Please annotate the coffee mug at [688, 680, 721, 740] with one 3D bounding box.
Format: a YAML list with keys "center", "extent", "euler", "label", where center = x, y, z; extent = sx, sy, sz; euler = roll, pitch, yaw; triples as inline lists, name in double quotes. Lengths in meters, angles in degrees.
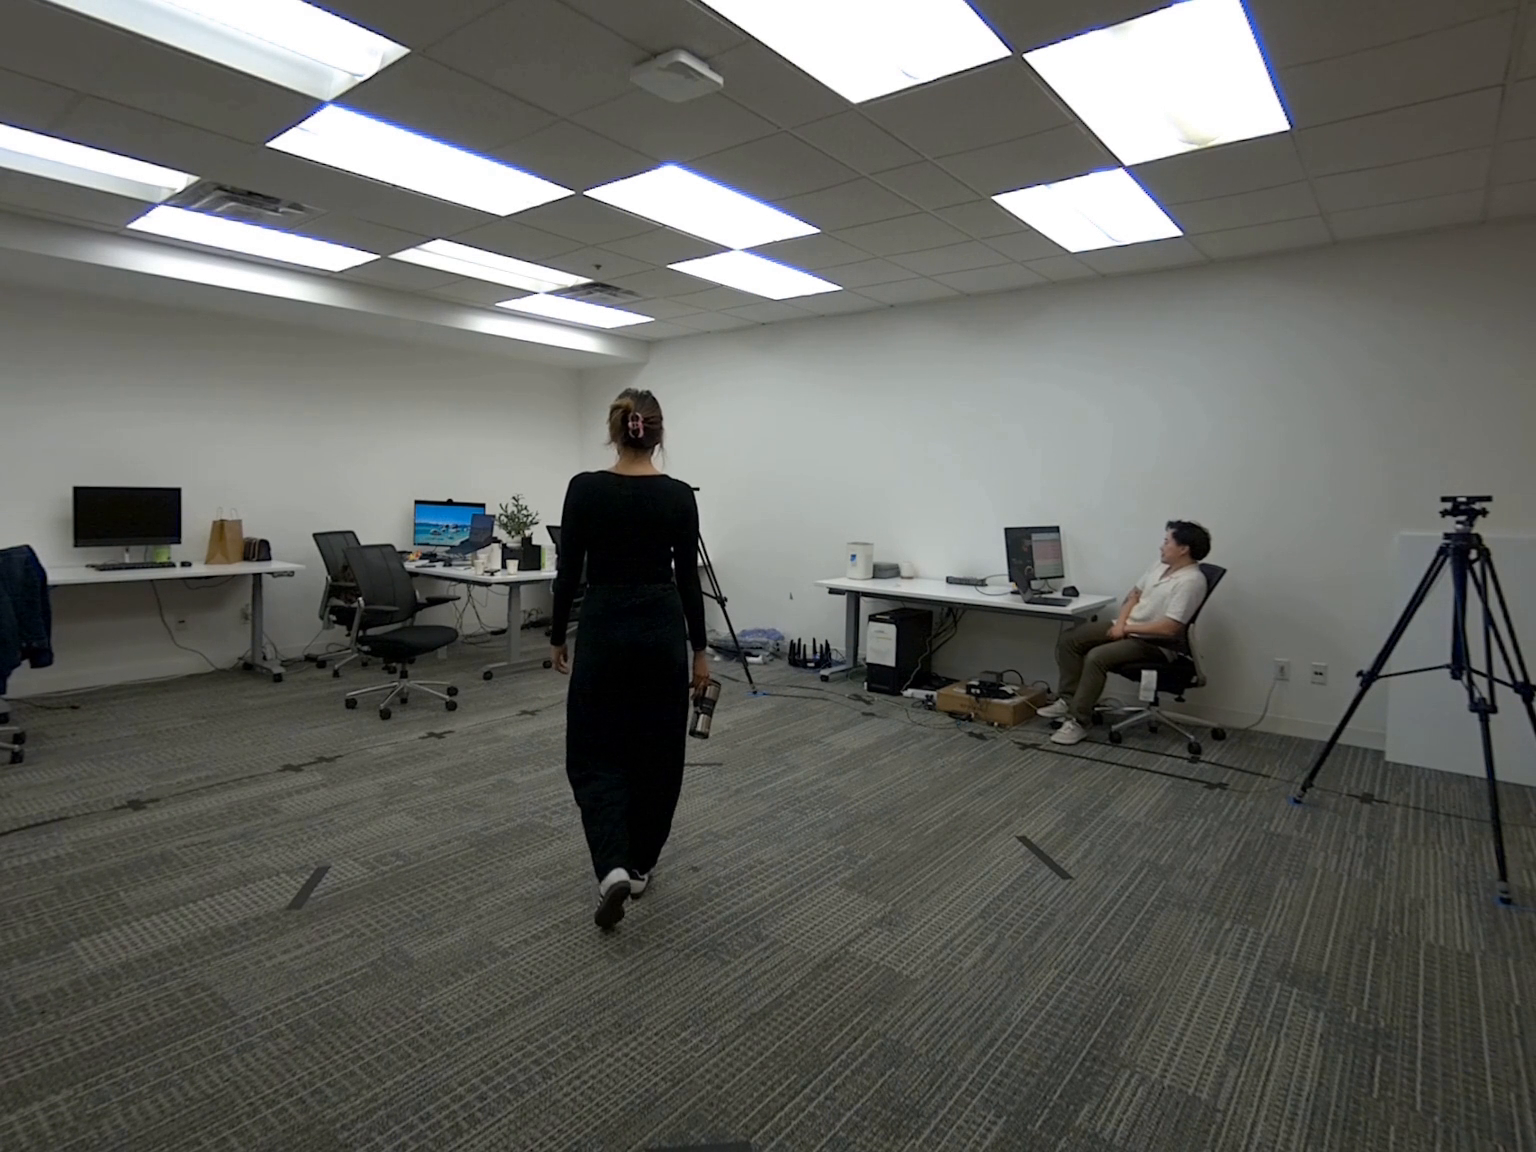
- center: [-0.257, 0.474, 3.011]
  extent: [0.125, 0.205, 0.084]
  euler: [2, -20, 26]
  label: "coffee mug"
